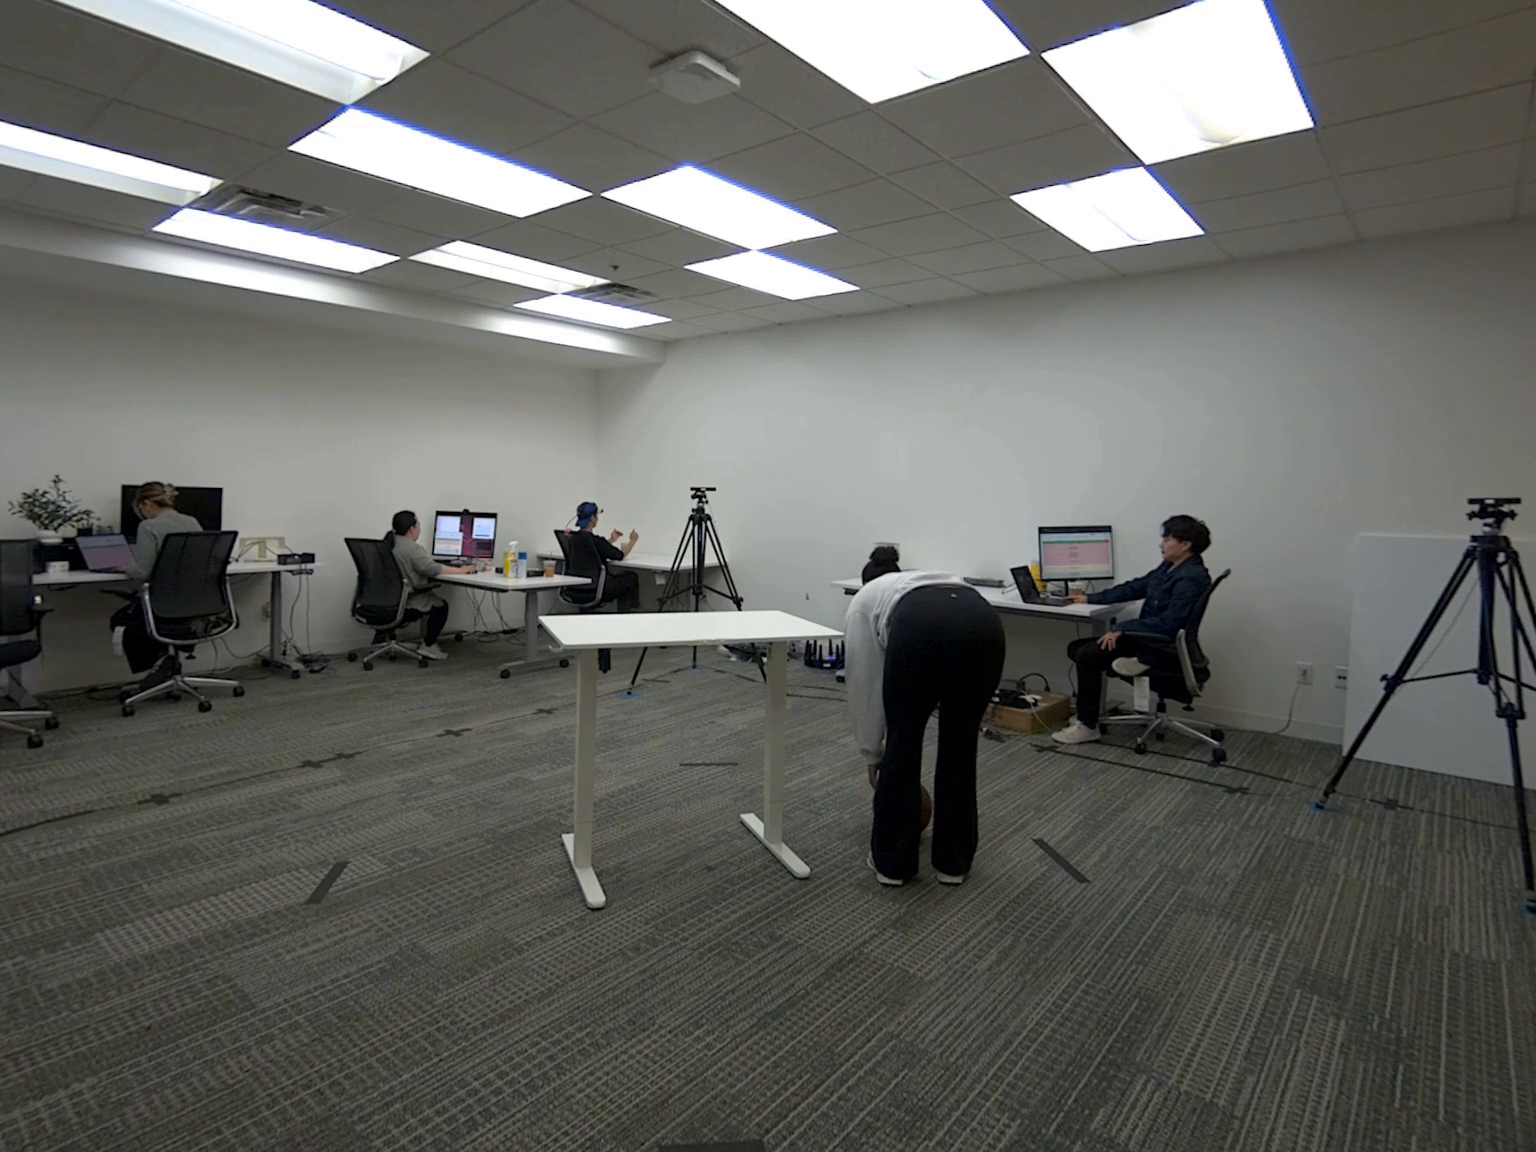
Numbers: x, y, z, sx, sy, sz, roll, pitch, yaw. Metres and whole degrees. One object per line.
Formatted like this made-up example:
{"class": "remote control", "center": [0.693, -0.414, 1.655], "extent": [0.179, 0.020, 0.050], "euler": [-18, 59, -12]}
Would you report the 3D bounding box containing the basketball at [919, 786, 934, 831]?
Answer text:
{"class": "basketball", "center": [0.540, 0.923, 3.444], "extent": [0.235, 0.235, 0.237], "euler": [1, 4, -2]}
